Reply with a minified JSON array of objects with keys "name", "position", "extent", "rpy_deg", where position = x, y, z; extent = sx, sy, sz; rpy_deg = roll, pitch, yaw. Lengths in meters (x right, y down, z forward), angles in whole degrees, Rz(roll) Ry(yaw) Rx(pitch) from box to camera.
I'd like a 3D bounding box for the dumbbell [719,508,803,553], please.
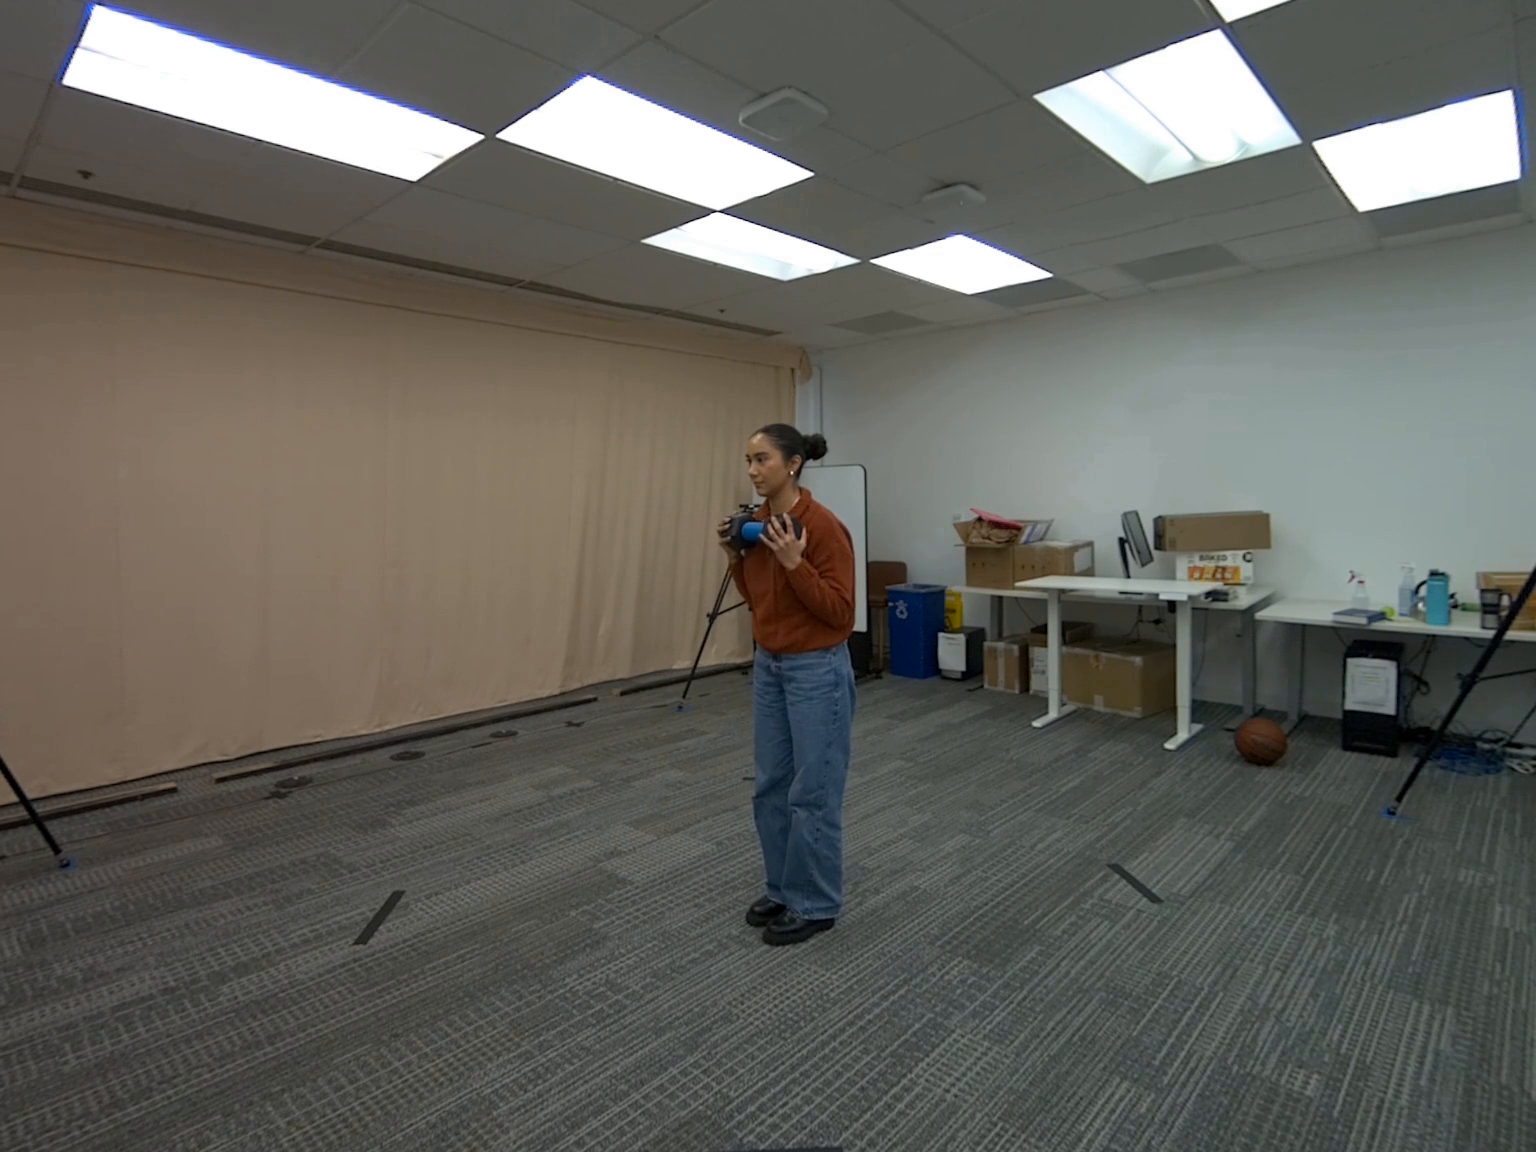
[{"name":"dumbbell","position":[-0.022,-0.121,2.649],"extent":[0.304,0.108,0.119],"rpy_deg":[10,-34,50]}]
